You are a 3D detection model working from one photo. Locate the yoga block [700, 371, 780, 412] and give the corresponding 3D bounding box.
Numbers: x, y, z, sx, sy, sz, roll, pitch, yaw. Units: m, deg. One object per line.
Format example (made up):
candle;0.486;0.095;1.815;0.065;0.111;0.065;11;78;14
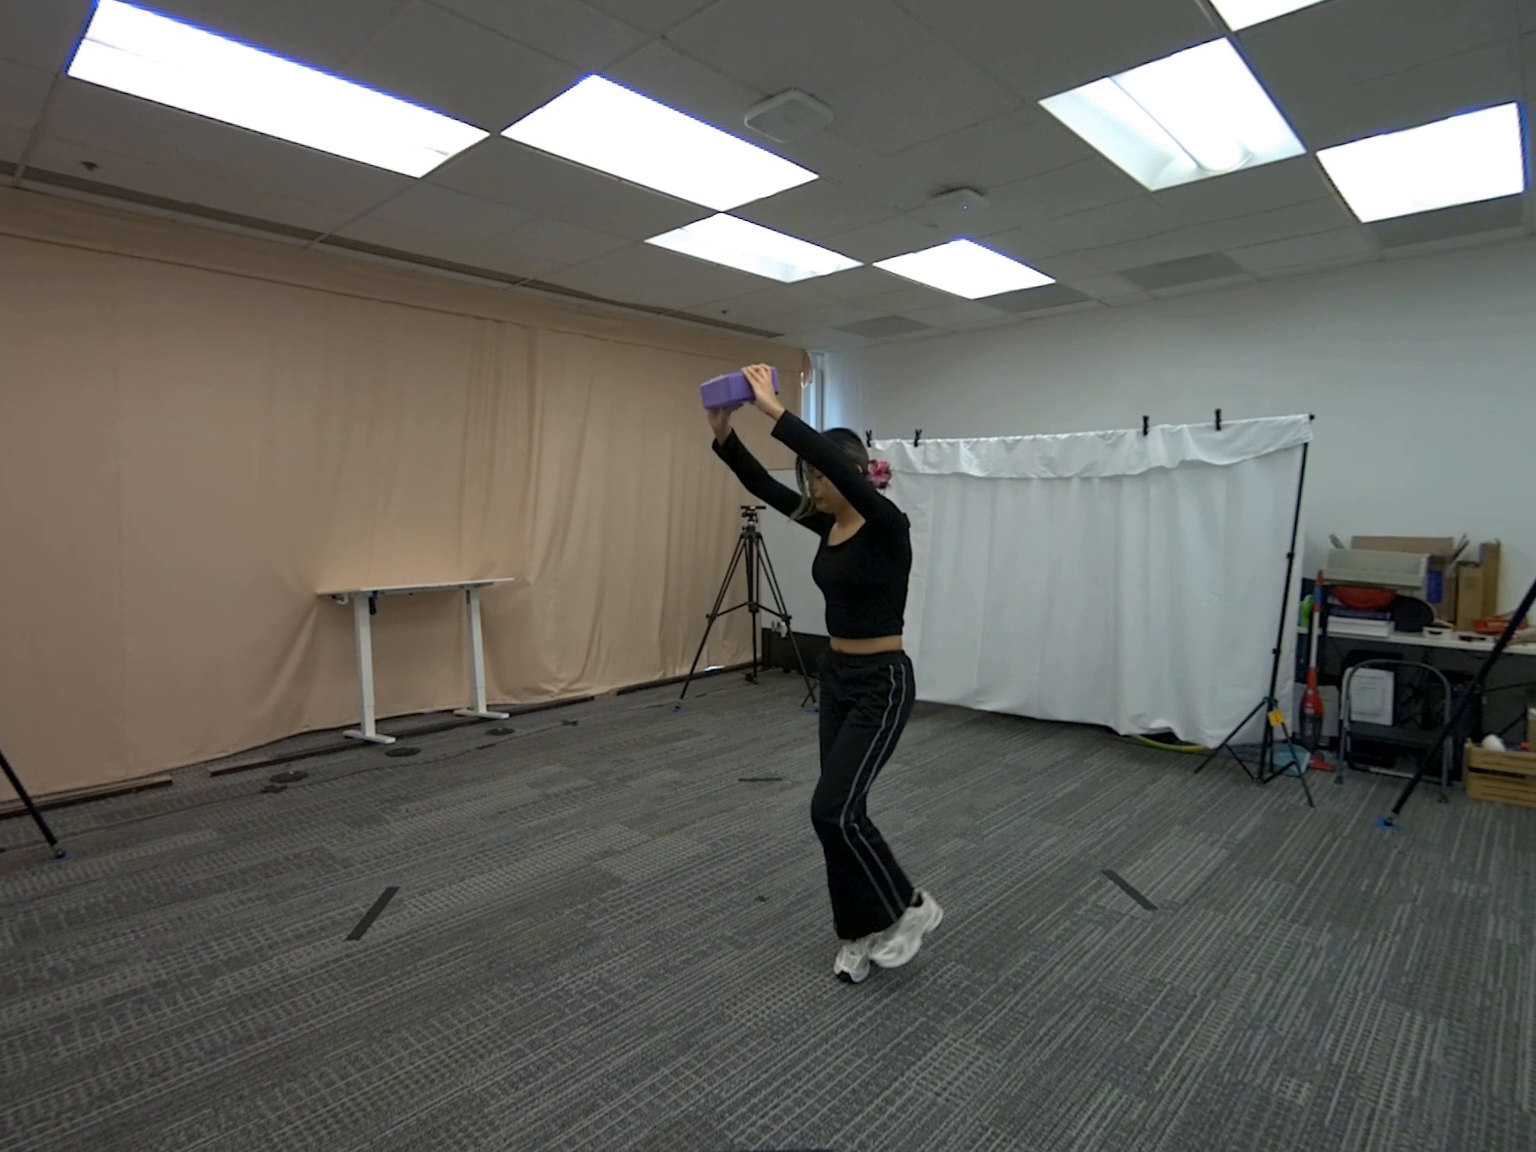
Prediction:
yoga block;-0.074;-0.511;2.299;0.147;0.076;0.235;-15;11;-18
